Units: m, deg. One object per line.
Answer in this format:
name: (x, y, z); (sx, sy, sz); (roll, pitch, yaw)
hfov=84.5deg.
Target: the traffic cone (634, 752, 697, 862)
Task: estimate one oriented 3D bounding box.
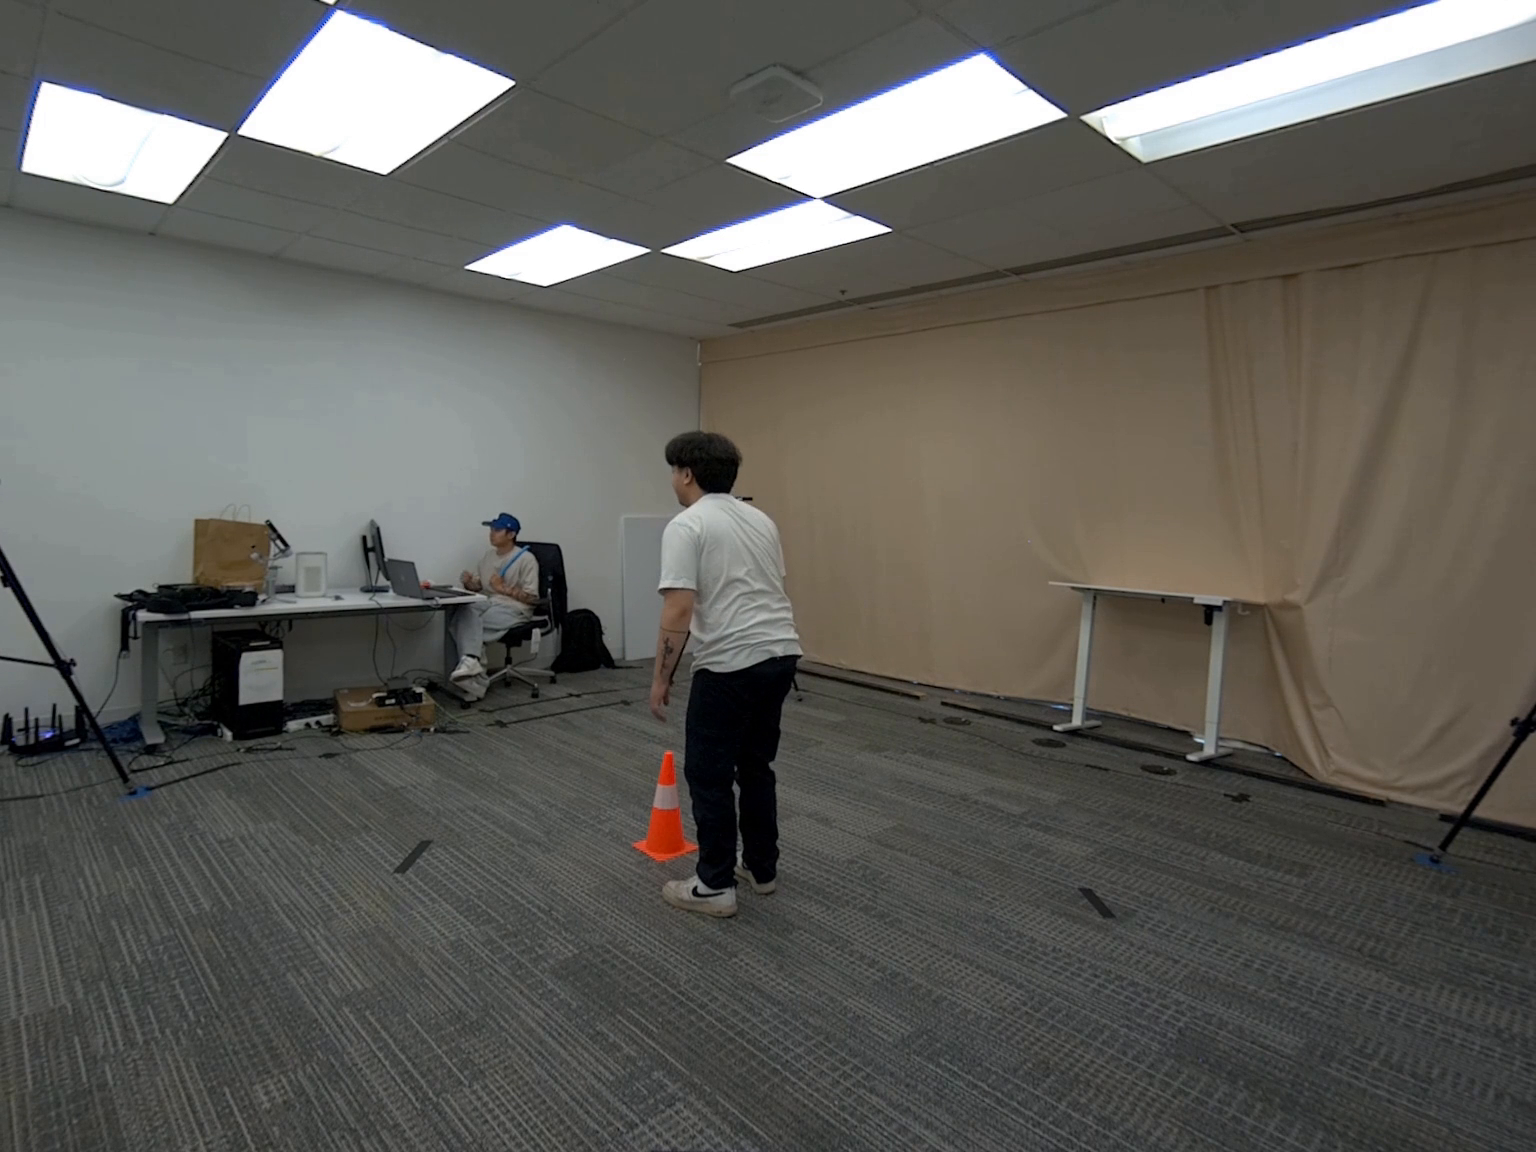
traffic cone: (-0.409, 0.891, 3.347); (0.200, 0.383, 0.208); (0, 3, -38)
